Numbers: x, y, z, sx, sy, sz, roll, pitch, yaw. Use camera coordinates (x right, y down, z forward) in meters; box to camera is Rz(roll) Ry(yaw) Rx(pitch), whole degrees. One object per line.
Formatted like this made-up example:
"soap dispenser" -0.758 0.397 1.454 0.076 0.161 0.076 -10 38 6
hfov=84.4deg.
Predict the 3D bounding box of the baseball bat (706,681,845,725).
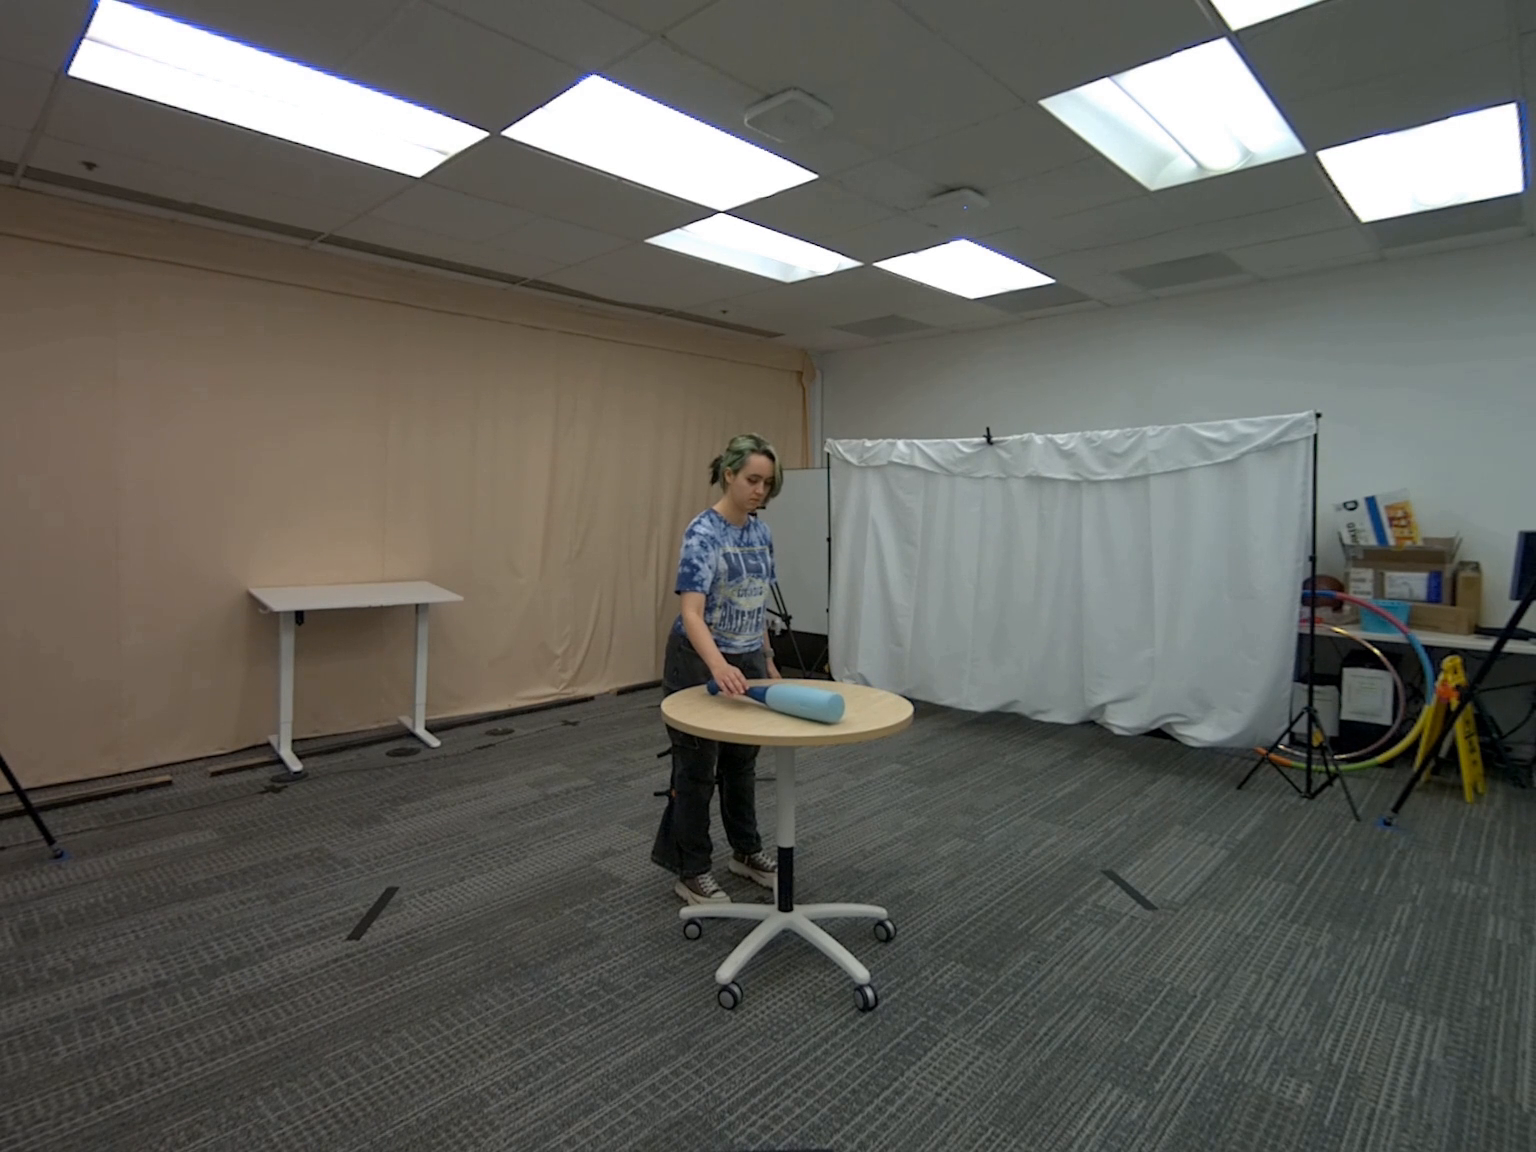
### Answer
"baseball bat" 0.004 0.366 2.506 0.086 0.089 0.560 -3 3 -43
